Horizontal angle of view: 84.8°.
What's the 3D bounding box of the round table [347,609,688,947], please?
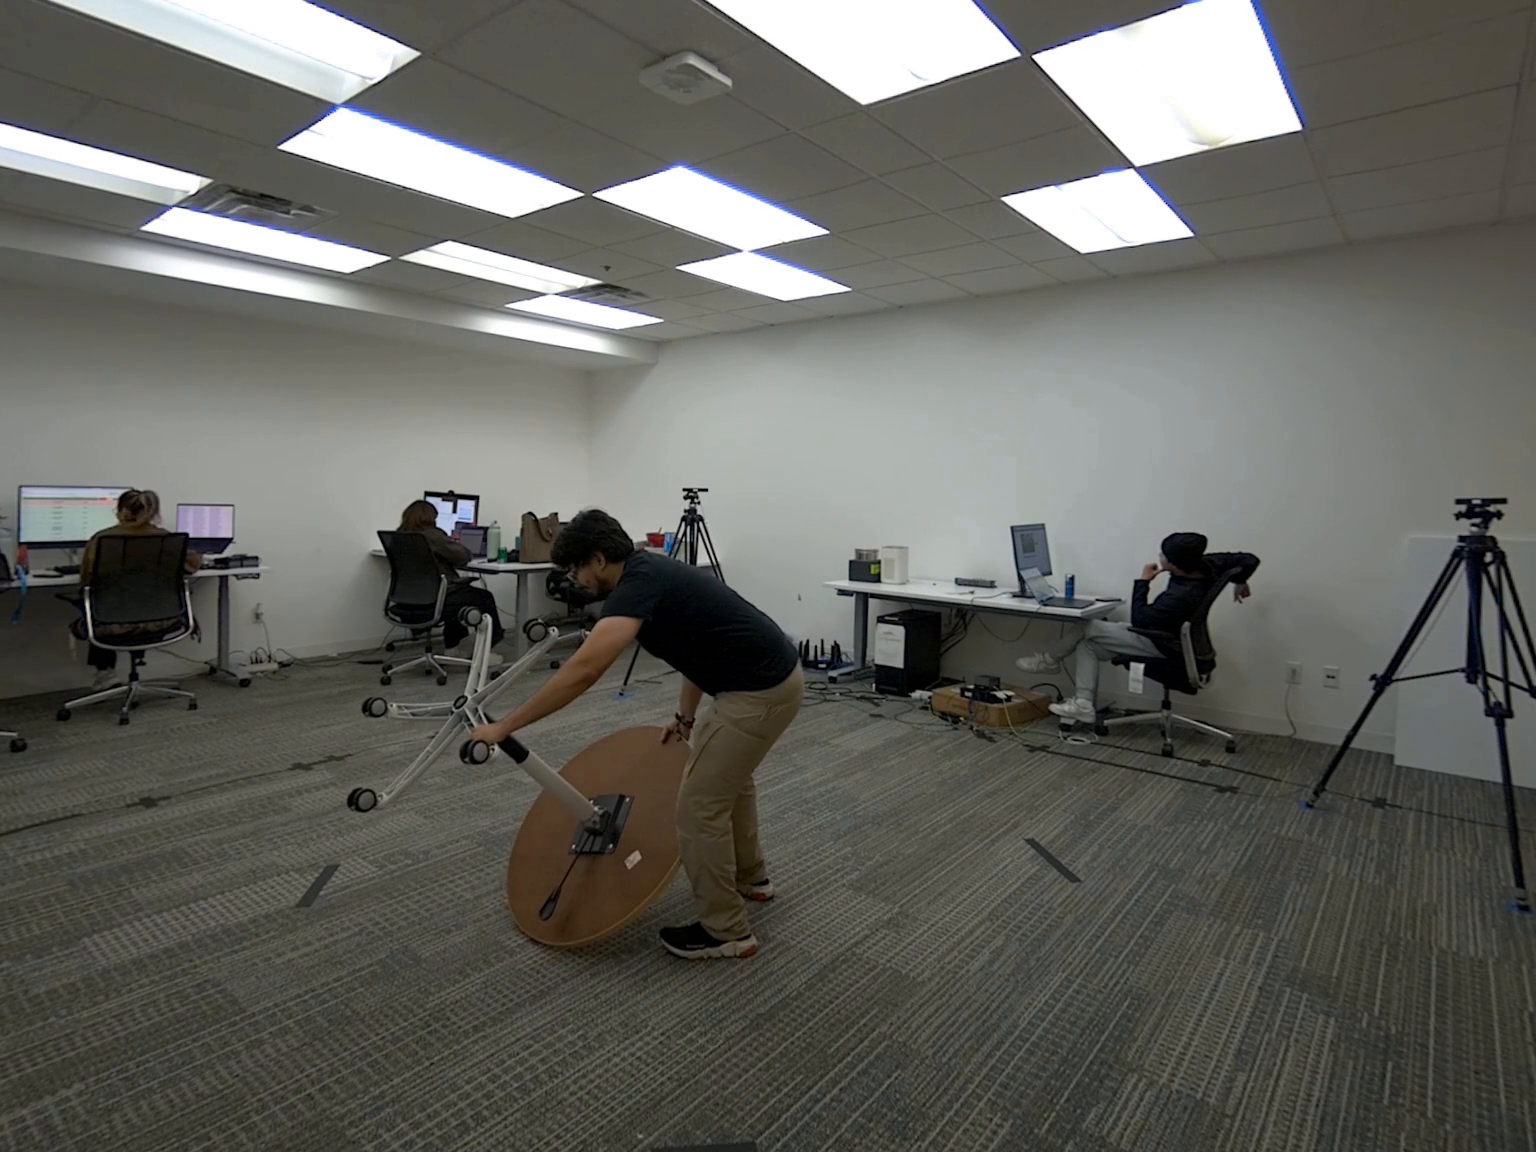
[{"bbox_3d":[-0.744,0.570,2.589,0.792,0.757,0.808,-25,35,17],"label":"round table"}]
